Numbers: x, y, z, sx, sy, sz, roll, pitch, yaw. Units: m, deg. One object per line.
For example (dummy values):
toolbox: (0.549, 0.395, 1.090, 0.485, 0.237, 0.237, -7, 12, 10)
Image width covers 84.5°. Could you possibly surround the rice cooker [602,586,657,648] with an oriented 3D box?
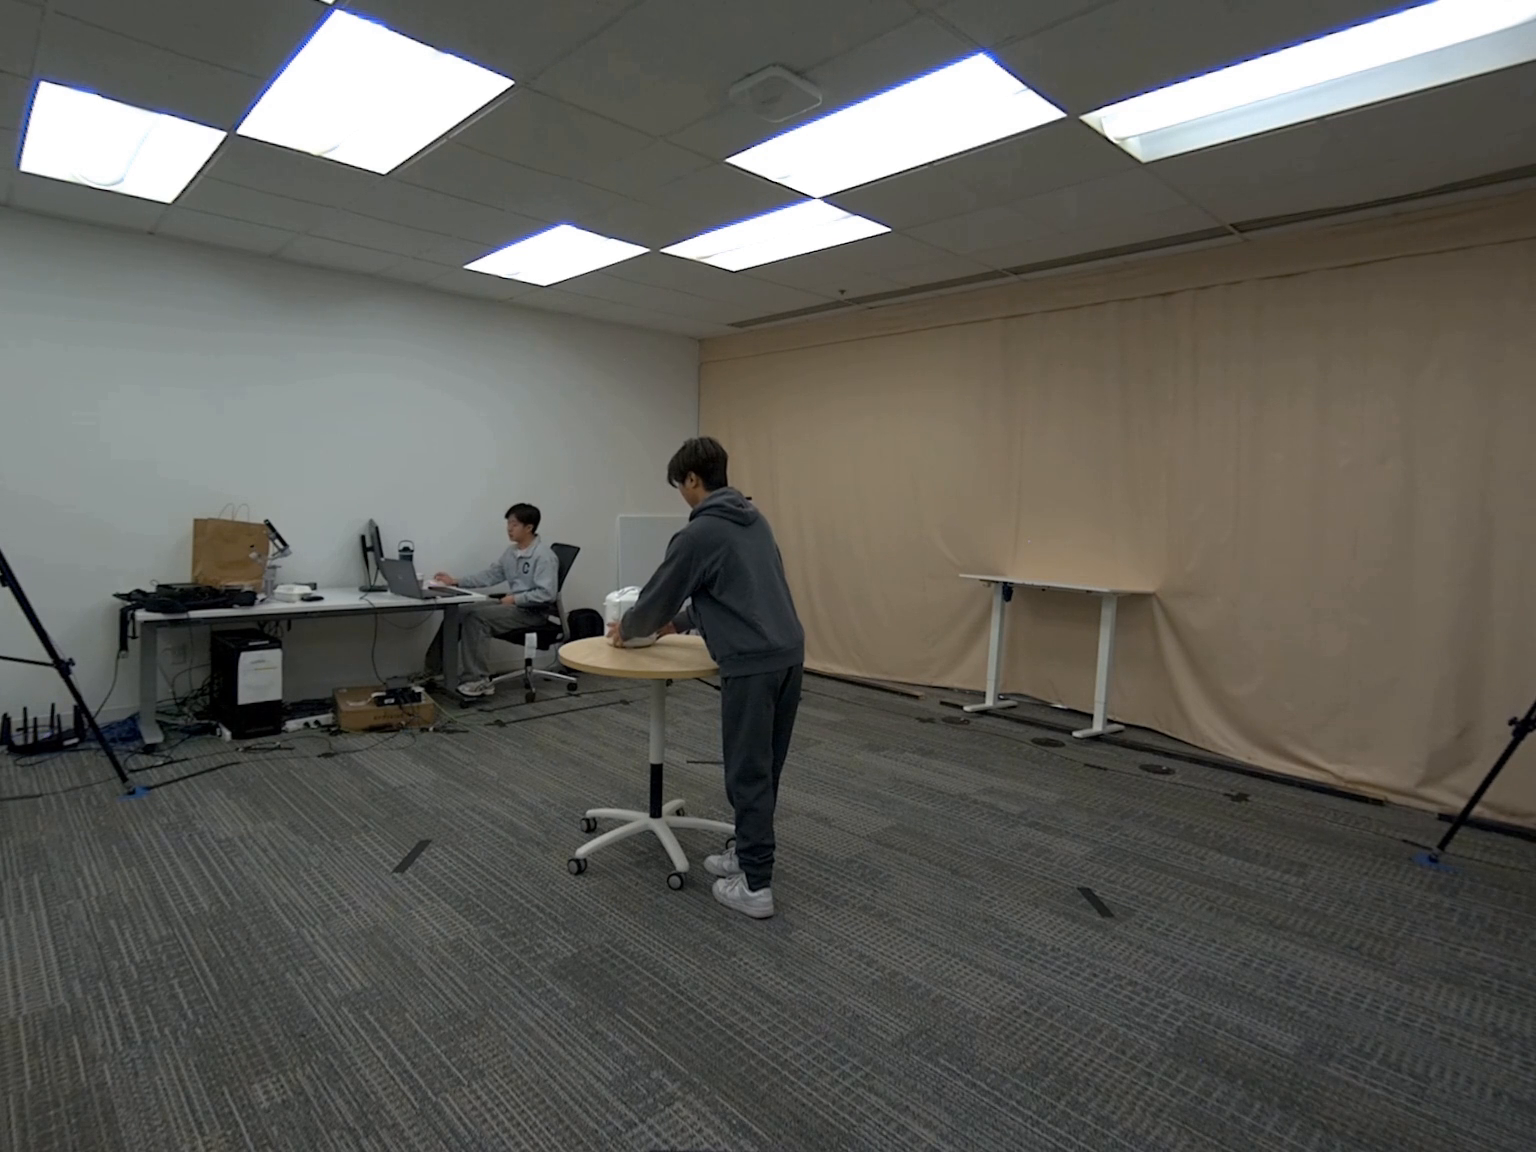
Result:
rice cooker: (-0.545, 0.159, 3.363, 0.222, 0.232, 0.217, 3, 4, 27)
